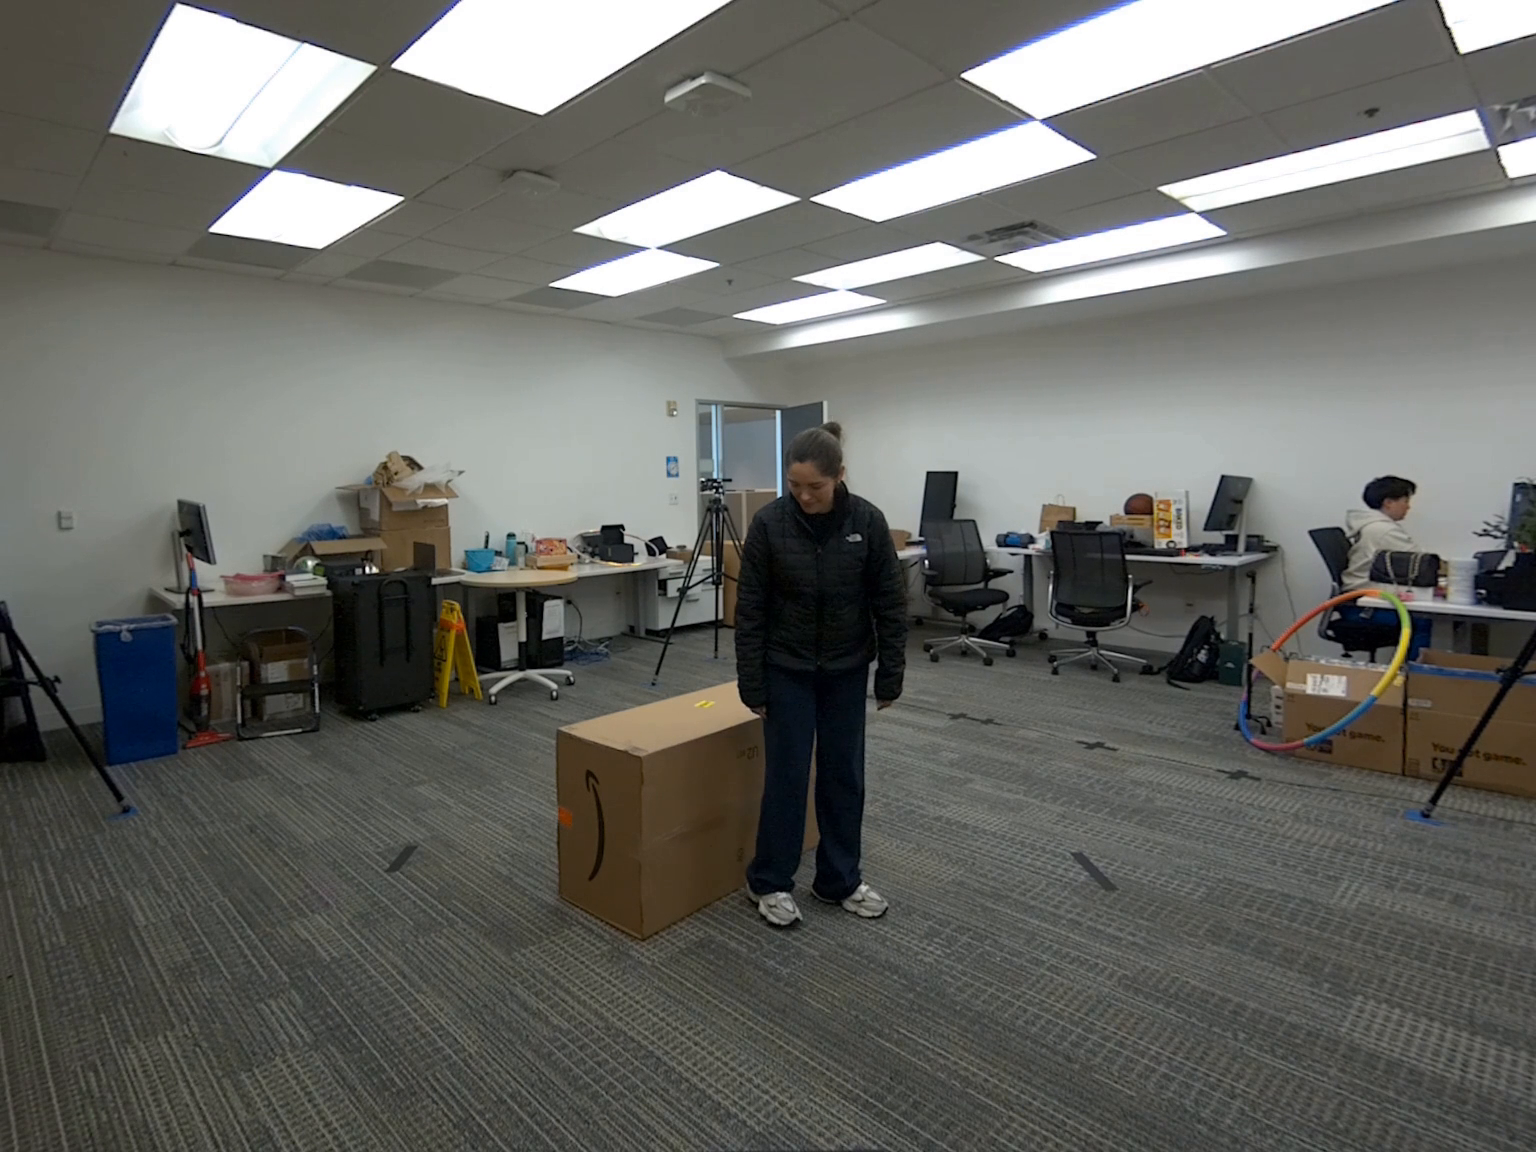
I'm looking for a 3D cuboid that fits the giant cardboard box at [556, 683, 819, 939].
[{"bbox_3d":[-0.223,0.764,3.100,0.439,0.575,0.999,5,8,41],"label":"giant cardboard box"}]
